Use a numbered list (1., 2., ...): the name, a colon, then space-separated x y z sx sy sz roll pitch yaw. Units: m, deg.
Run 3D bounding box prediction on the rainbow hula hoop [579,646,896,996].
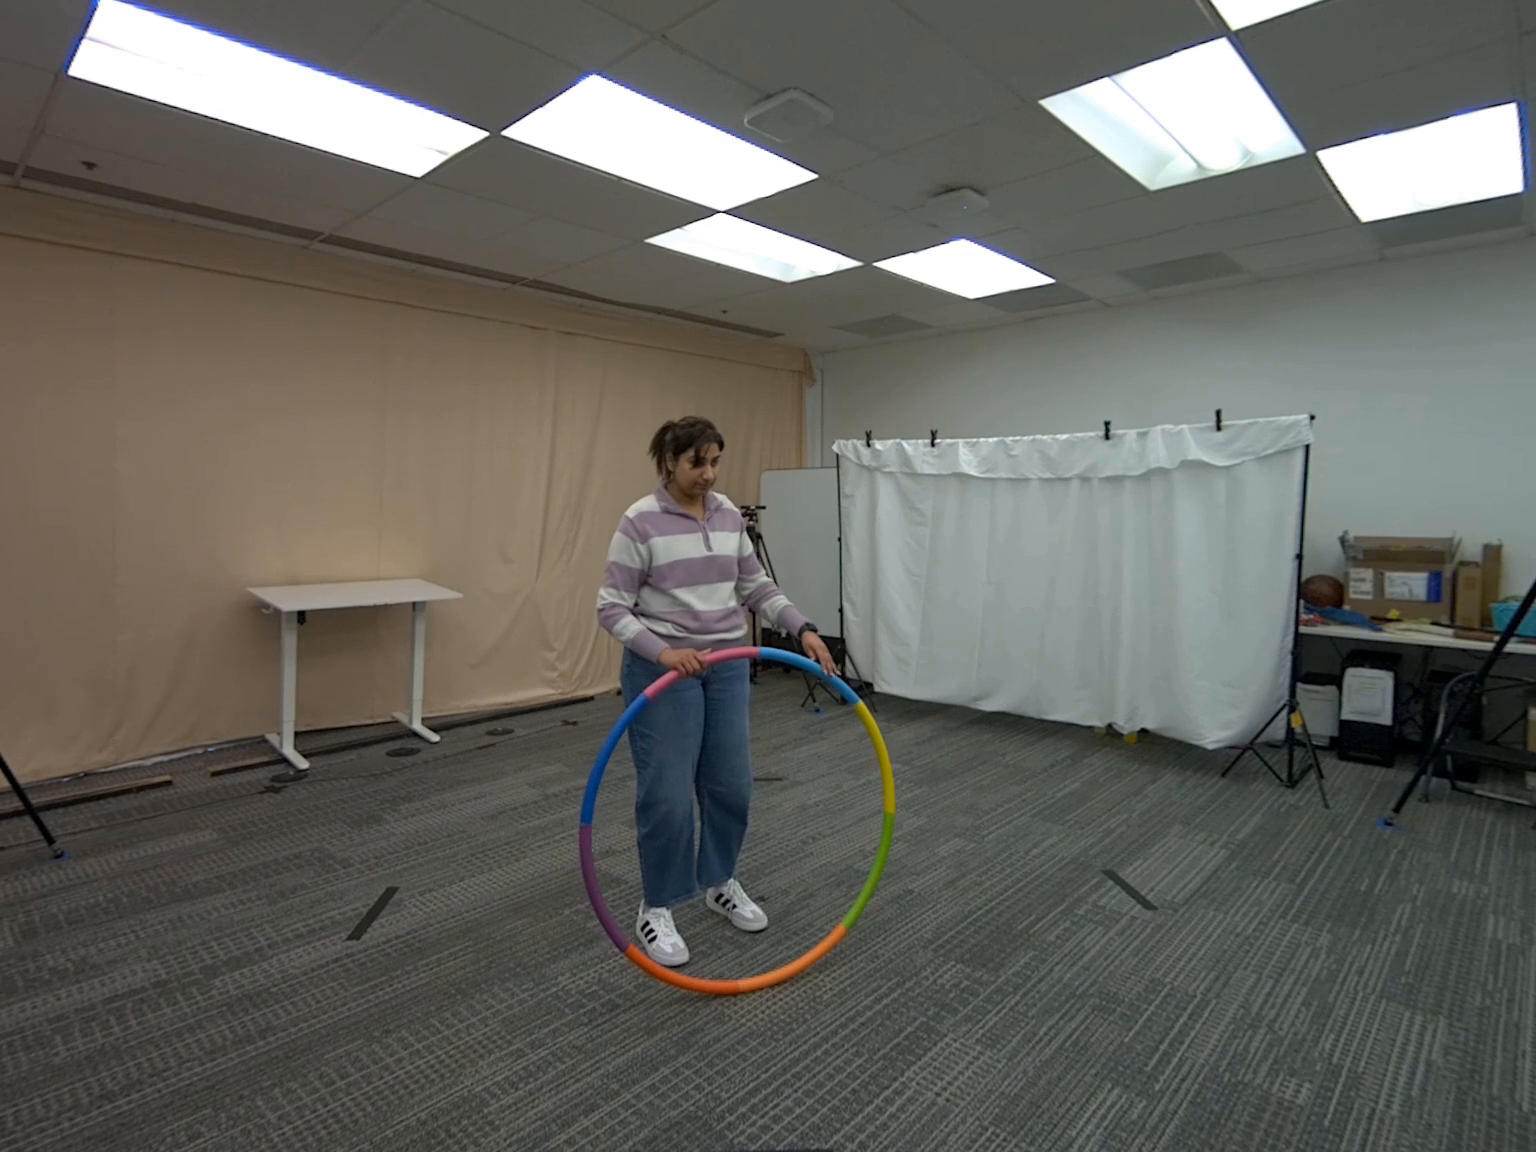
1. rainbow hula hoop: -0.050 0.704 2.438 0.965 0.986 0.052 -2 -1 -21
